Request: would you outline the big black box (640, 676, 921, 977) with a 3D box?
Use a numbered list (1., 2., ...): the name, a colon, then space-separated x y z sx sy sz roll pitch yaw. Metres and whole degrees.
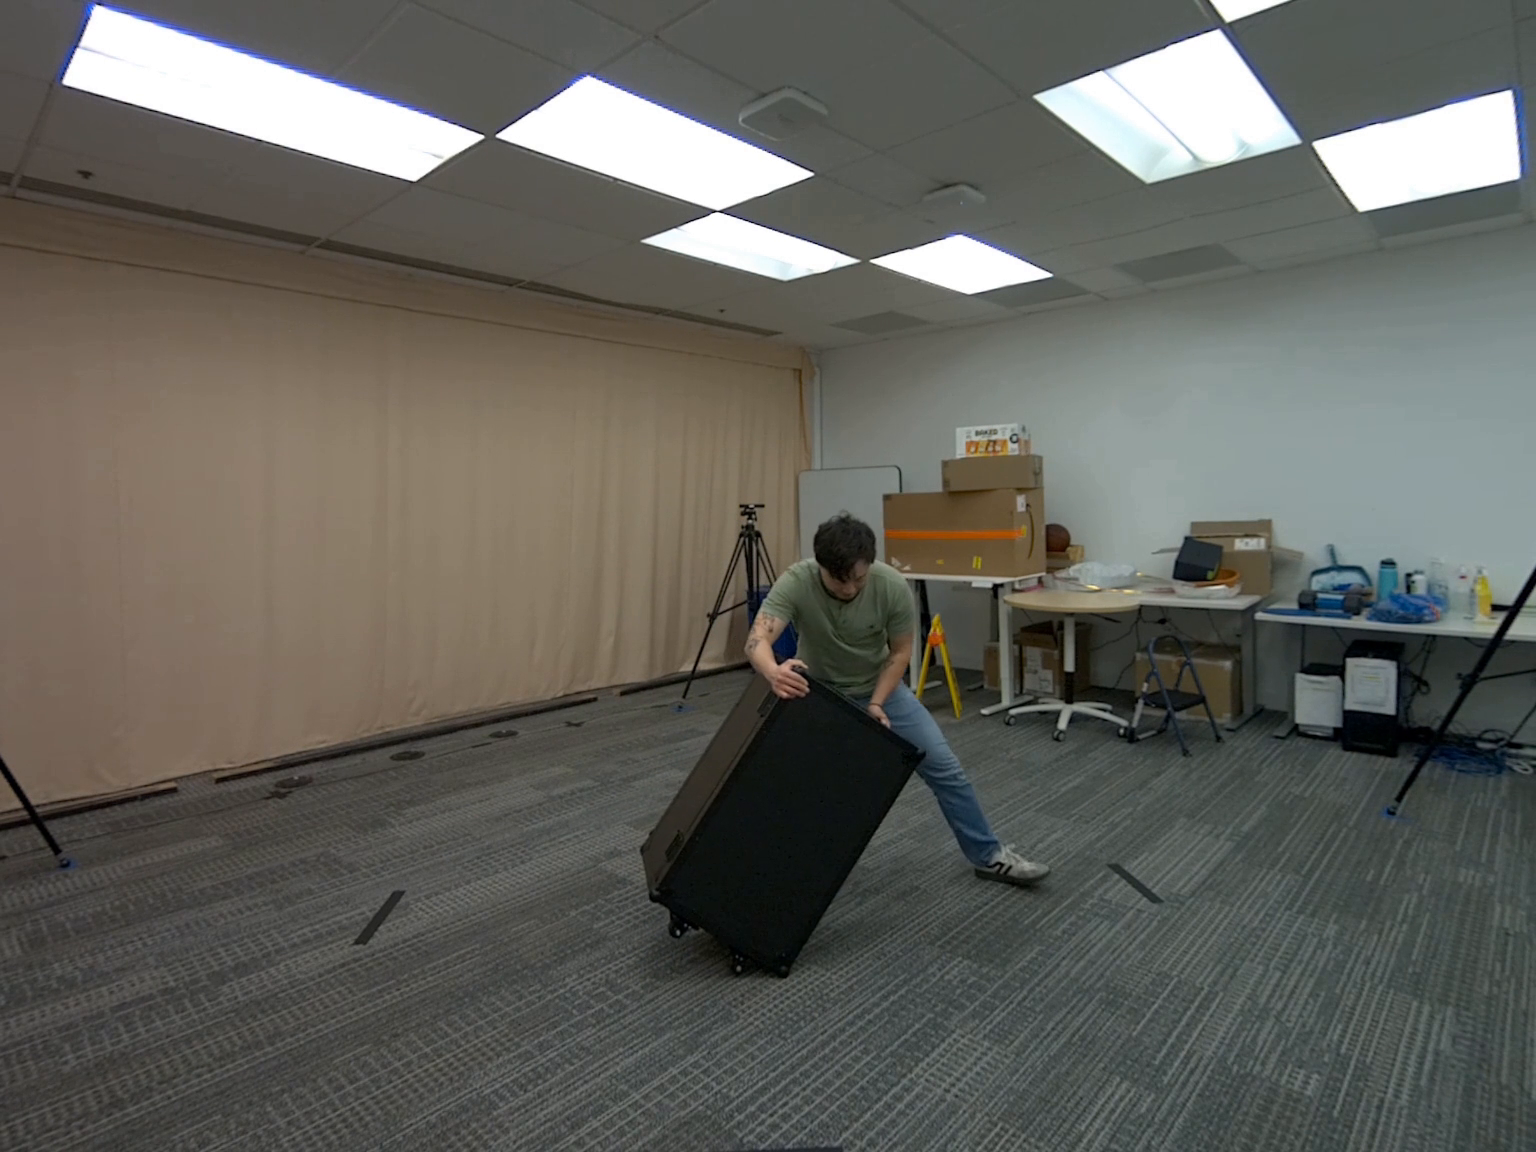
1. big black box: 0.006 0.739 2.636 0.515 0.861 0.401 34 -4 -10
